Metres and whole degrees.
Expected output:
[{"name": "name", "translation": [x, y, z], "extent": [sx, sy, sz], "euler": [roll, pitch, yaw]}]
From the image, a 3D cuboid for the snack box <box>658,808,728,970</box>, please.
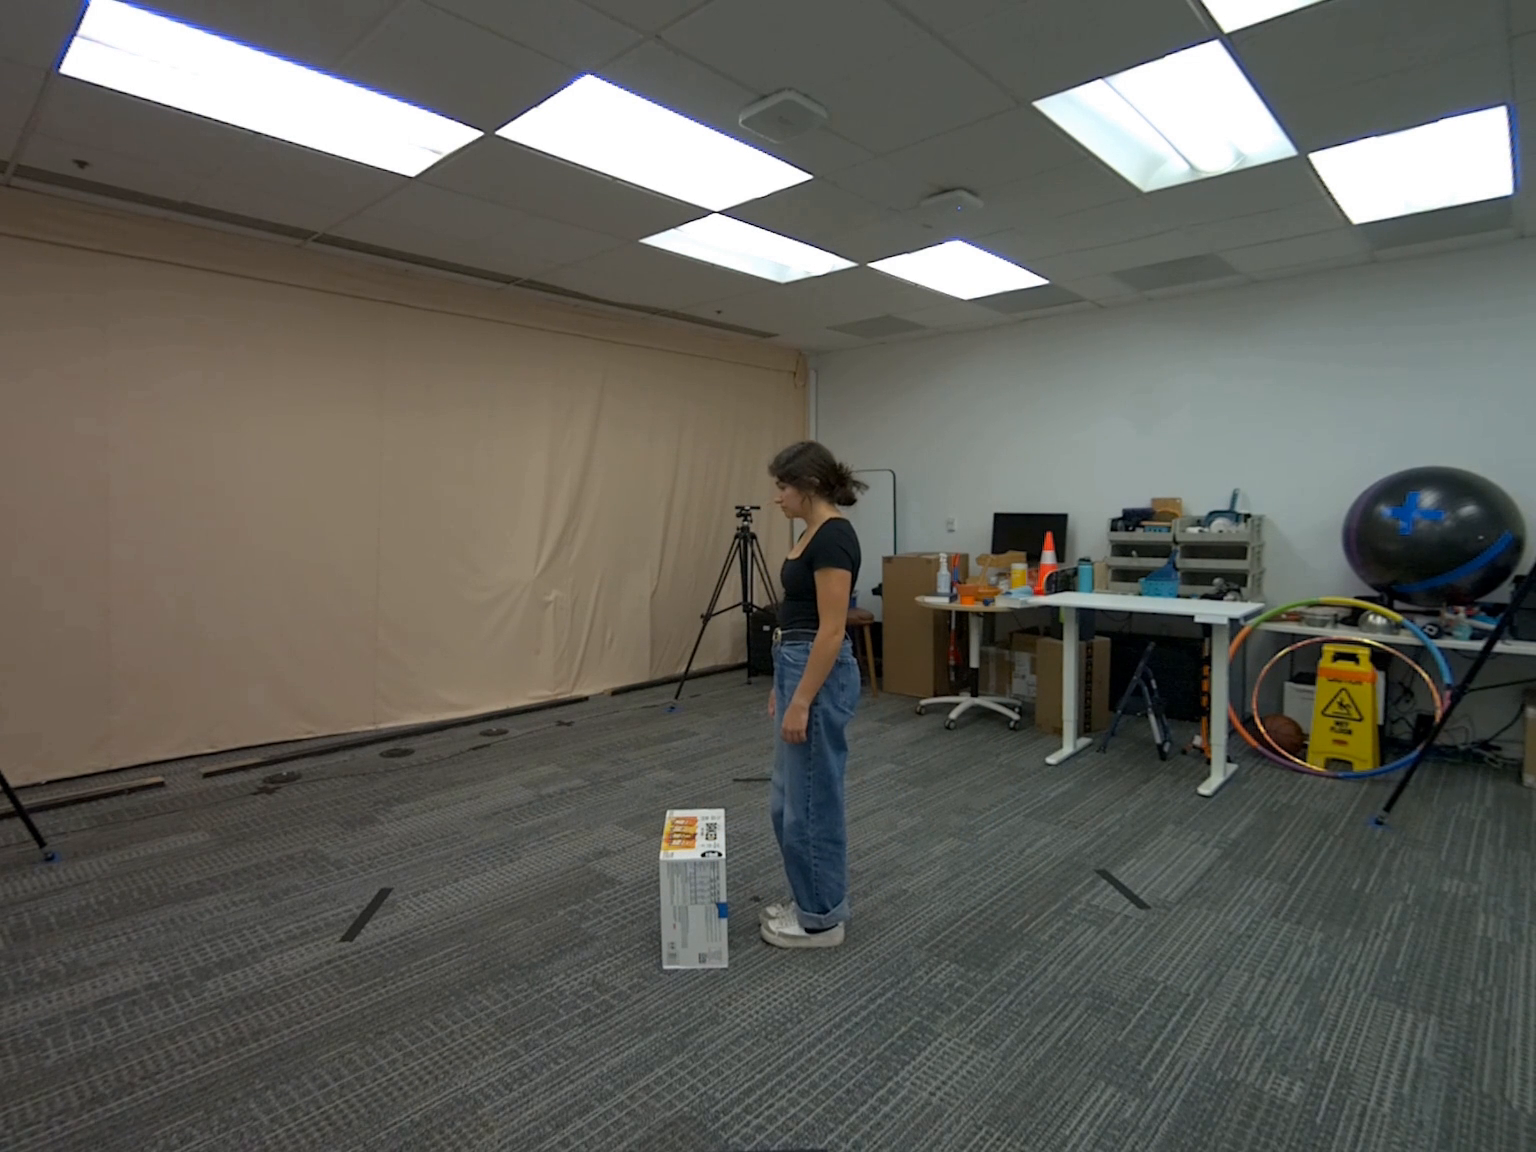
[{"name": "snack box", "translation": [-0.238, 0.997, 2.730], "extent": [0.205, 0.339, 0.407], "euler": [-1, 4, -3]}]
